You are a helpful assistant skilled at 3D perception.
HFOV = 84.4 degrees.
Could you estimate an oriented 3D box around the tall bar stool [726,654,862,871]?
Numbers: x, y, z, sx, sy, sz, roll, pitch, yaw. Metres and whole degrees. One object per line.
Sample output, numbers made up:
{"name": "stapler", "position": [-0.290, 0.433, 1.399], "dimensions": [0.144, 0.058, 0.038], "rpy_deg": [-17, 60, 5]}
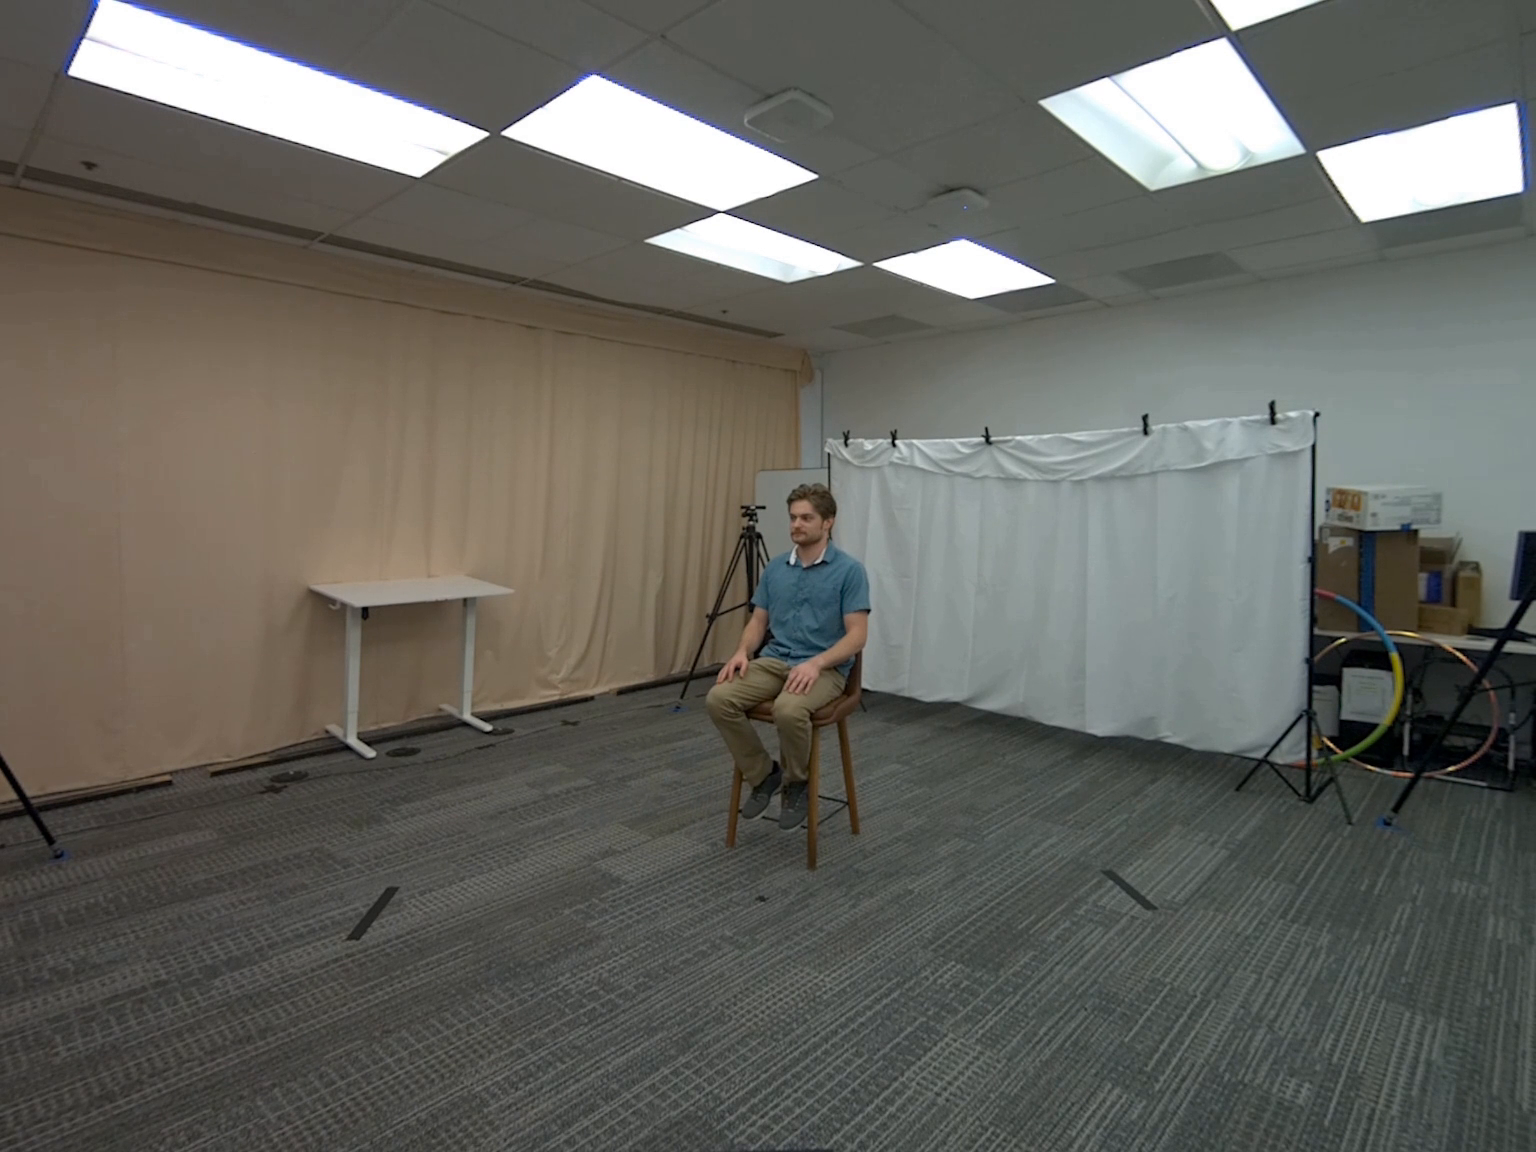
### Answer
{"name": "tall bar stool", "position": [0.129, 0.663, 3.495], "dimensions": [0.471, 0.889, 0.454], "rpy_deg": [3, 2, 34]}
